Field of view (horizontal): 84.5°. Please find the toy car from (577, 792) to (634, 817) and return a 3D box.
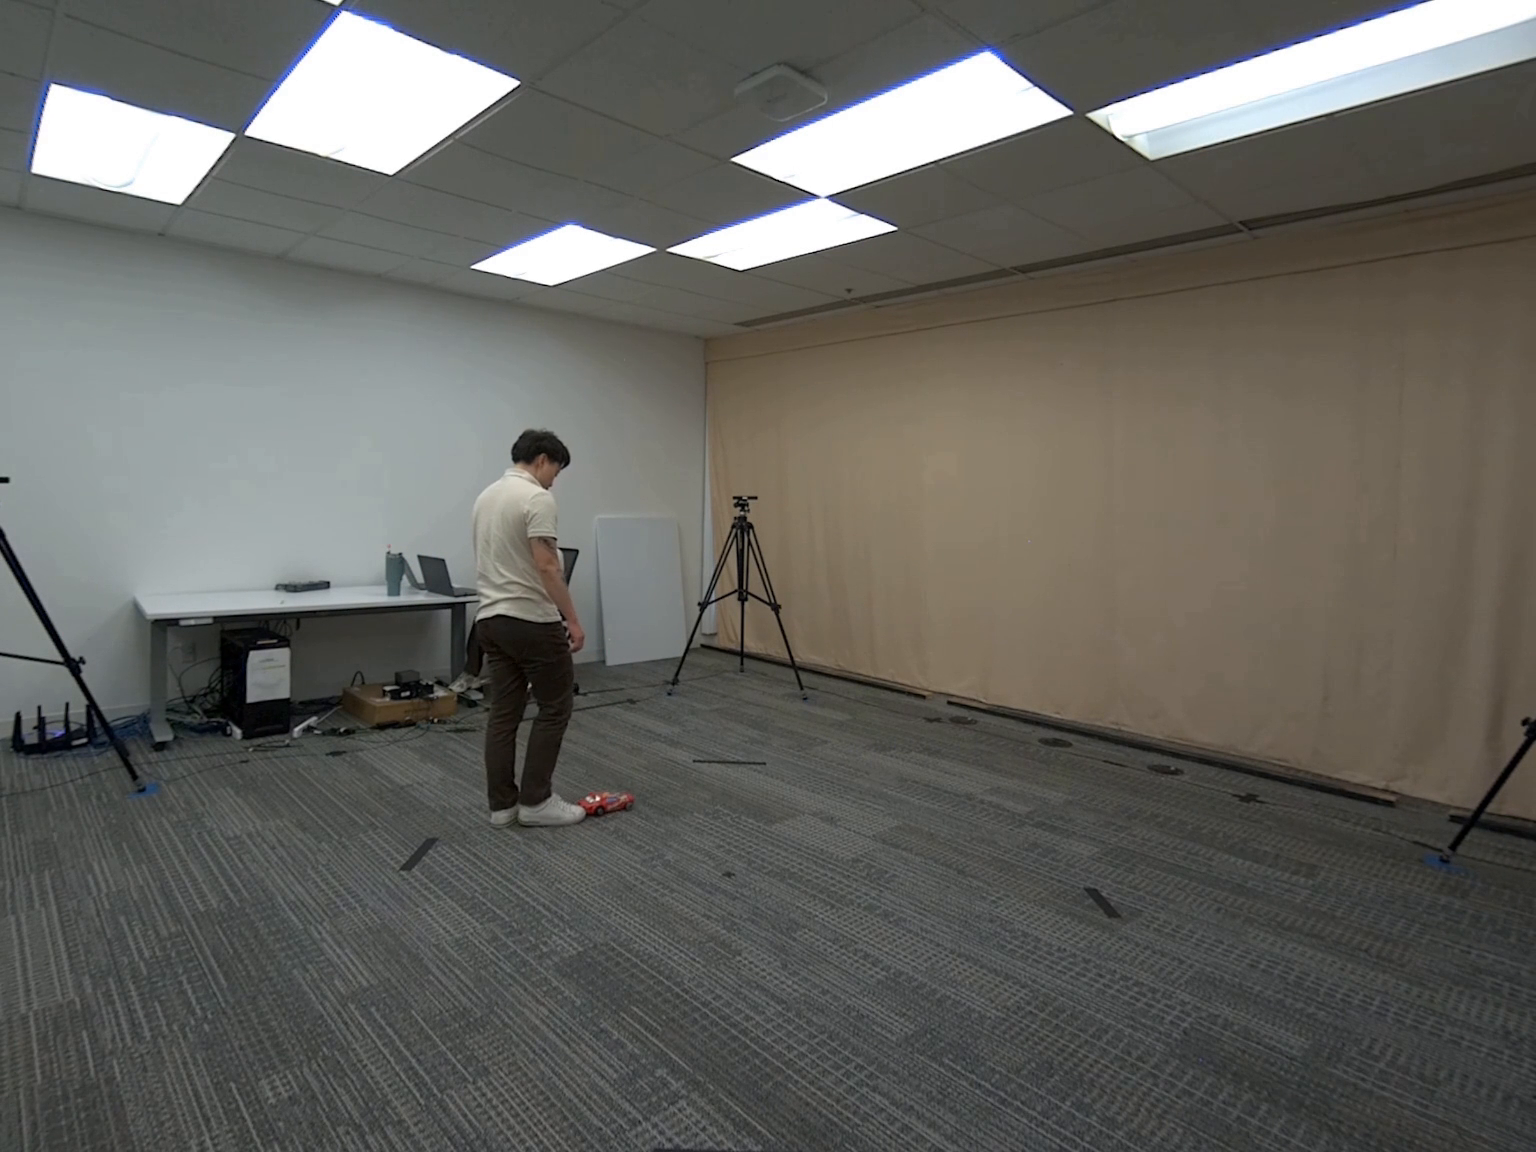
[{"bbox_3d":[-0.736,1.003,3.710,0.248,0.083,0.133,12,-4,-36],"label":"toy car"}]
